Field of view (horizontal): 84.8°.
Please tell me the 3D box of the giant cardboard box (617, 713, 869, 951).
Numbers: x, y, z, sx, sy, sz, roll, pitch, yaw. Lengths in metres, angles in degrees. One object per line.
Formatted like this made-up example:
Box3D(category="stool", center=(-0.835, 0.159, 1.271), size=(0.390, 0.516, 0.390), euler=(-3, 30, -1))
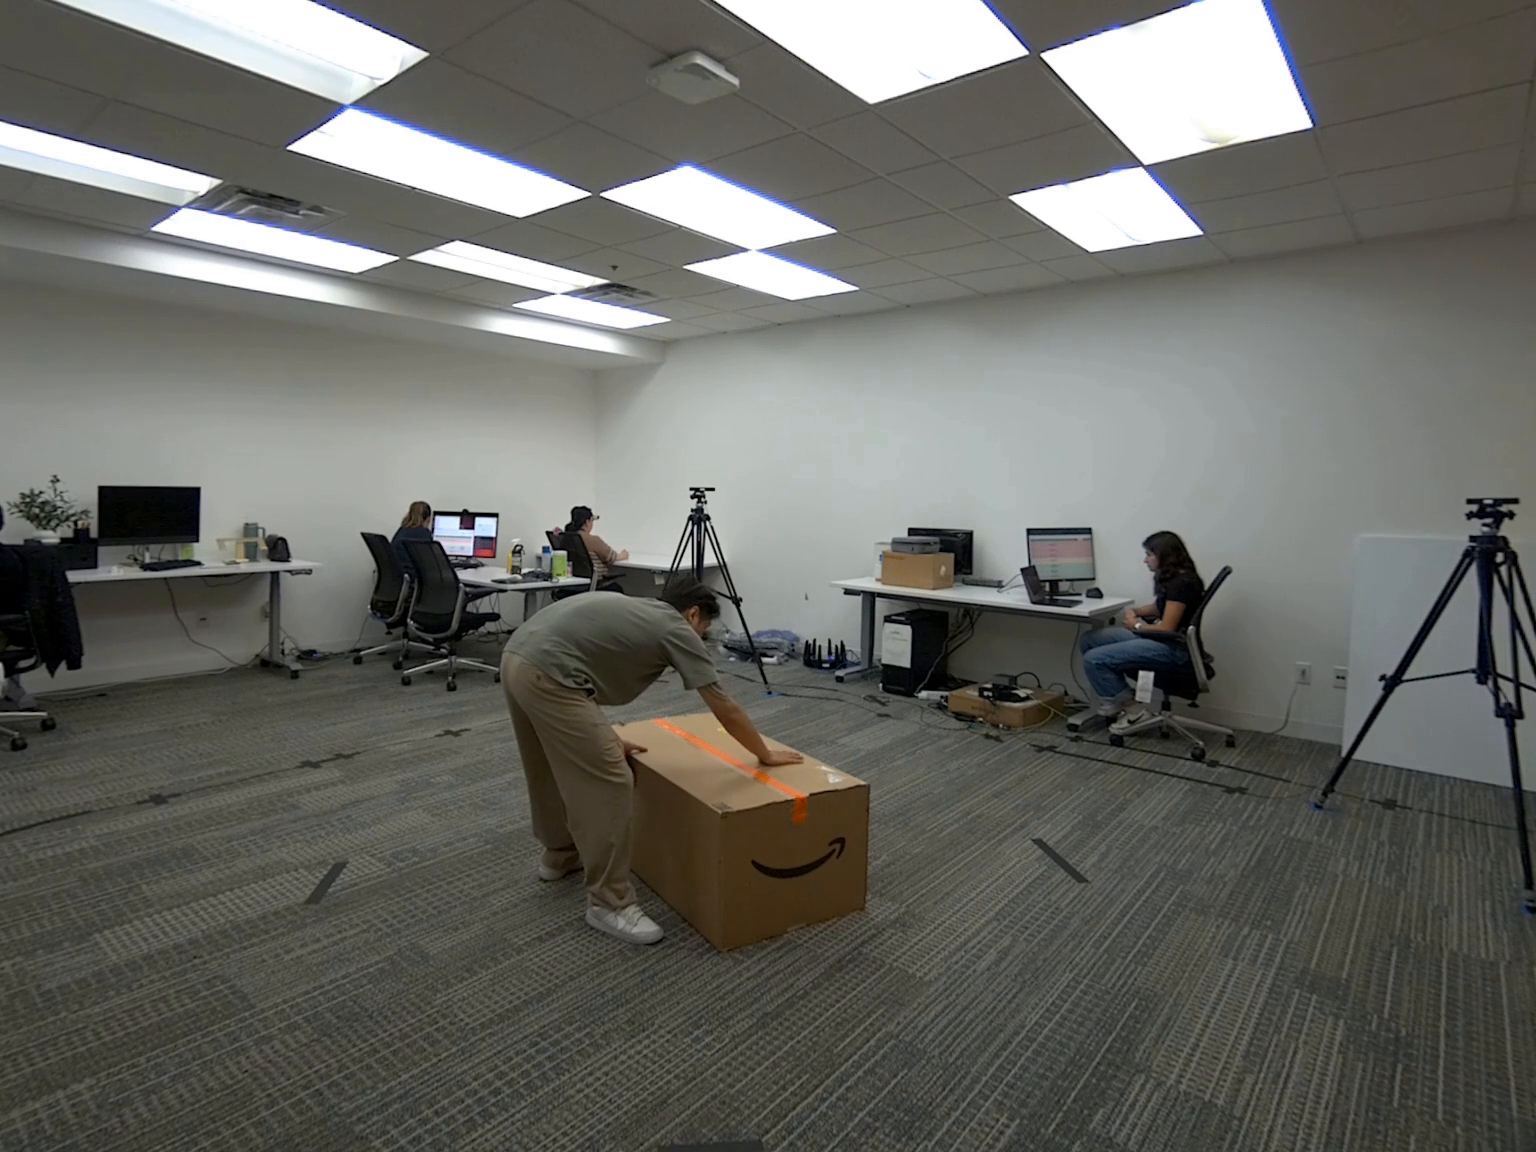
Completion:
Box3D(category="giant cardboard box", center=(-0.194, 0.850, 3.110), size=(0.561, 0.424, 1.059), euler=(-2, 6, -33))
